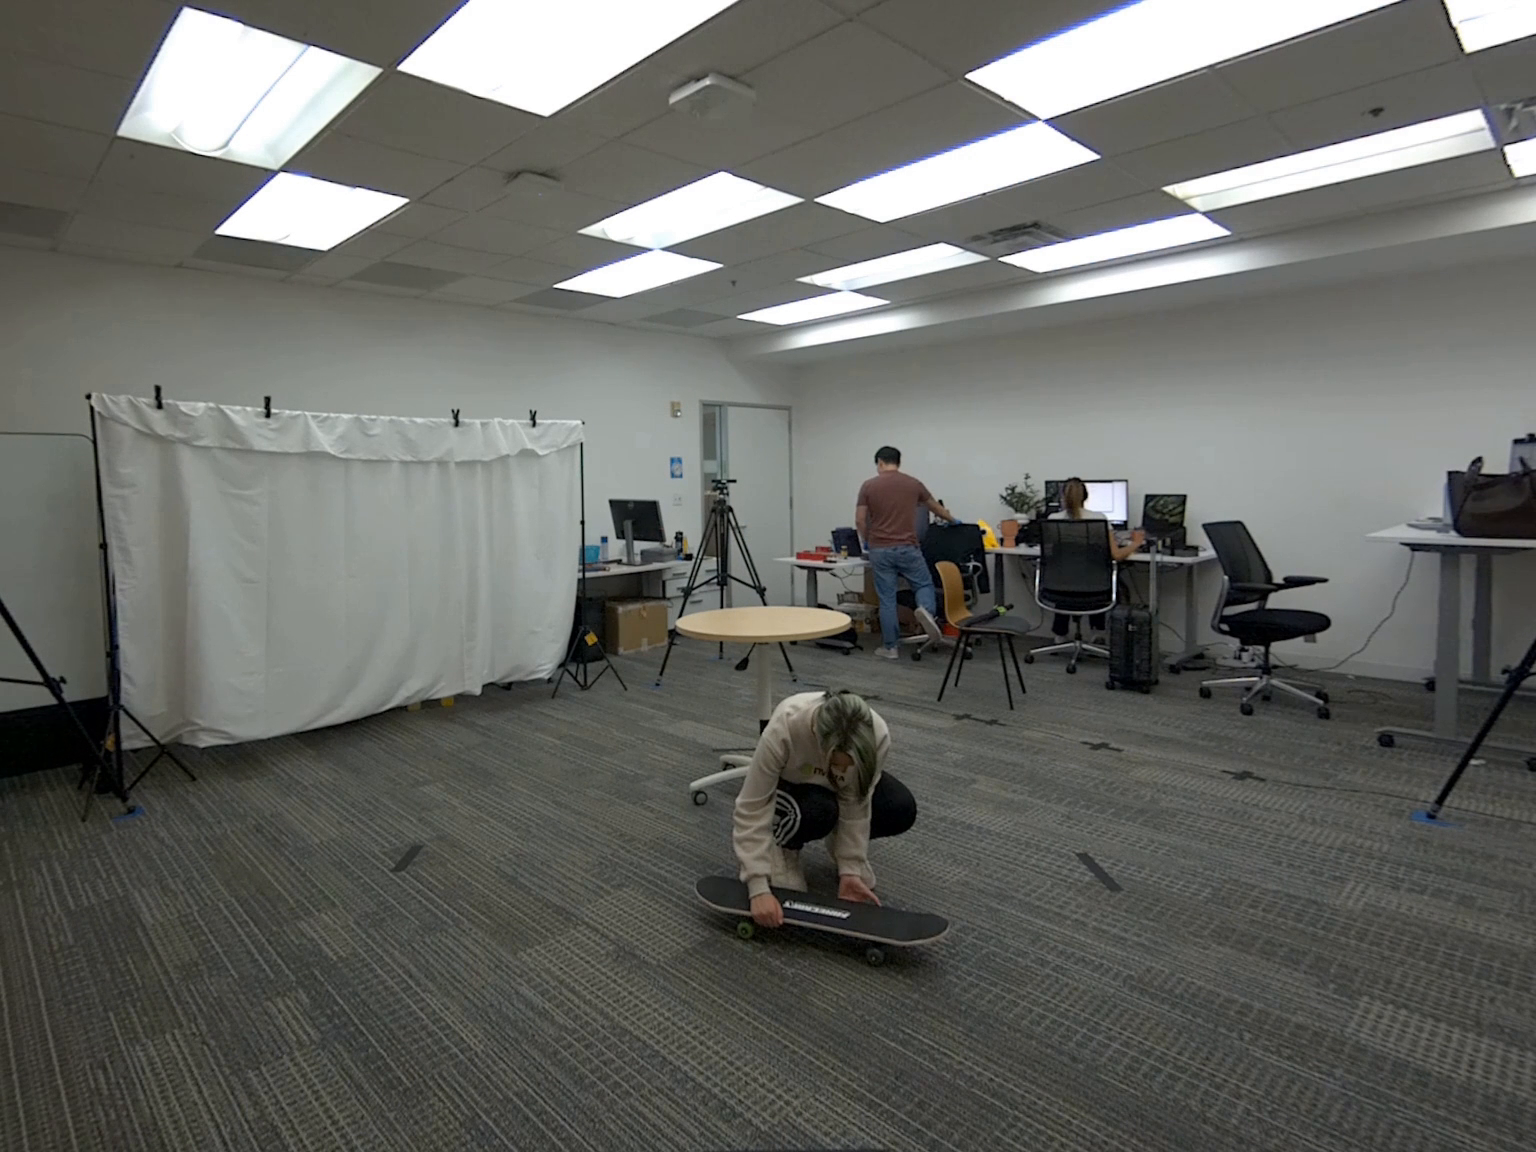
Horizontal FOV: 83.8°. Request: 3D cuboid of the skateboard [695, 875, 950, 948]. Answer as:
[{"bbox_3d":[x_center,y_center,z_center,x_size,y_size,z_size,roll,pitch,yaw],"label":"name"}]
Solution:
[{"bbox_3d":[0.148,1.043,2.588,0.802,0.110,0.190,2,6,22],"label":"skateboard"}]
